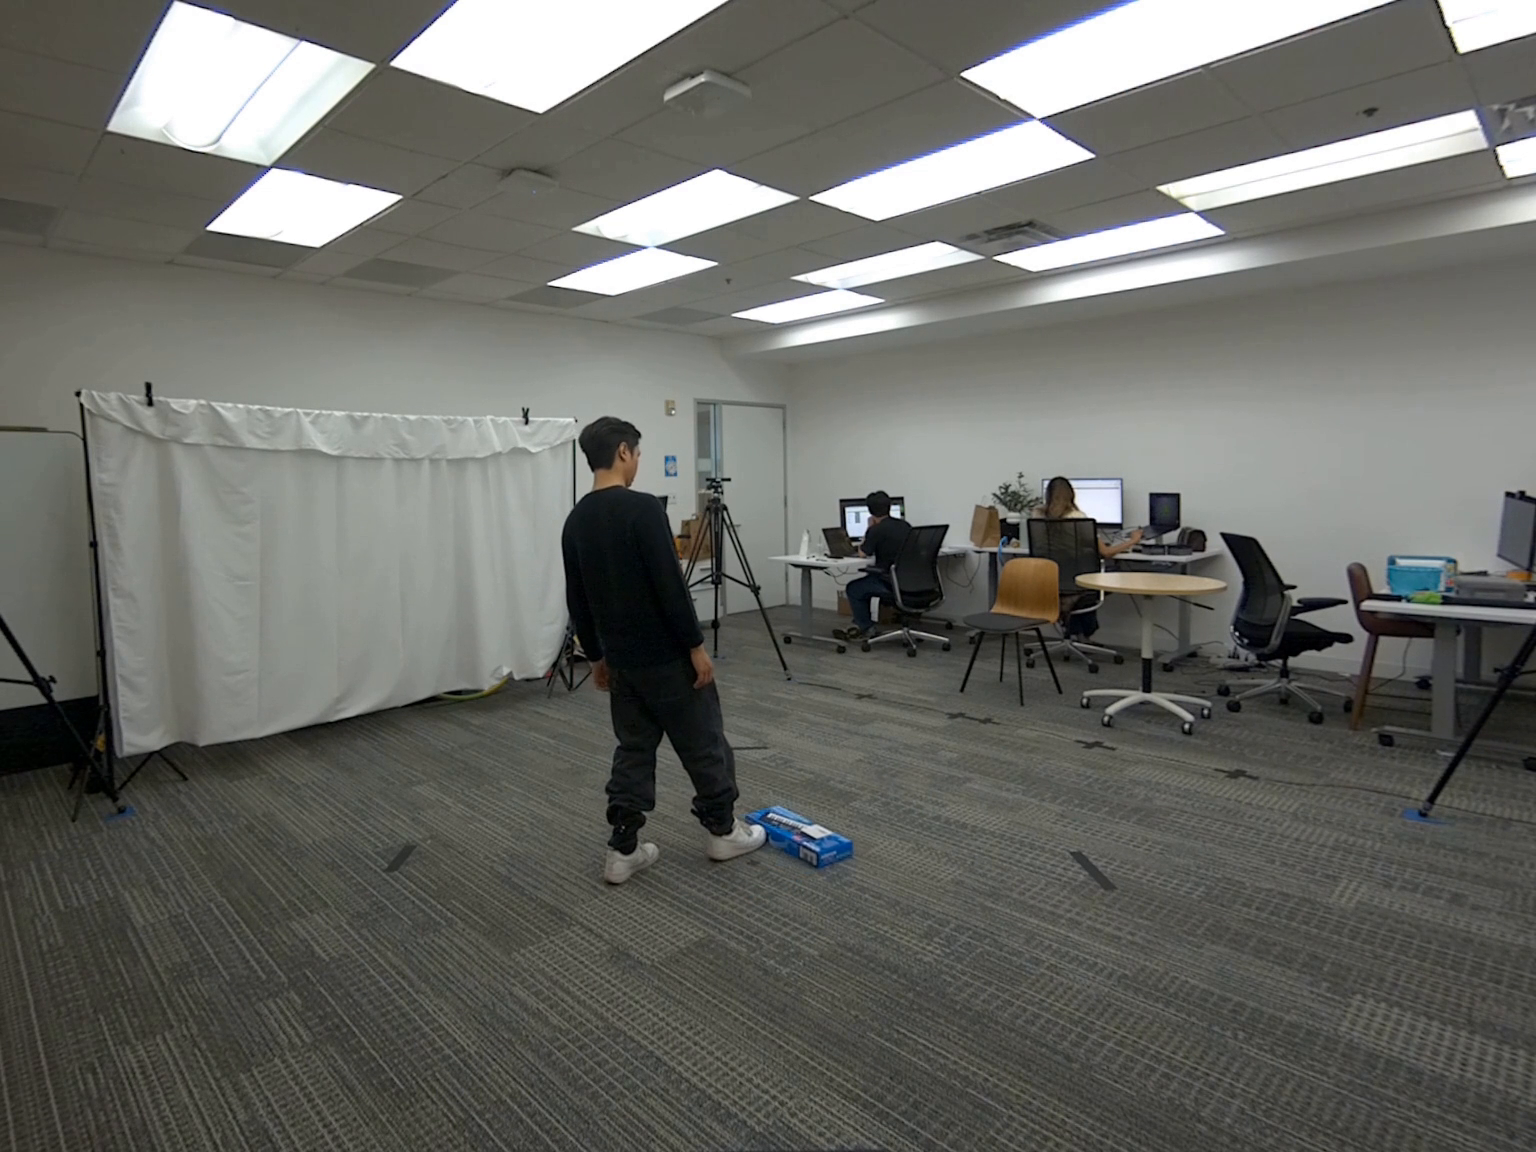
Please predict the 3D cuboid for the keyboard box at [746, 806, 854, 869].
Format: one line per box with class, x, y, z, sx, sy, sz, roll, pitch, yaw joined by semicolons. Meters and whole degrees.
keyboard box;0.113;0.991;3.274;0.171;0.059;0.450;-5;8;-37
